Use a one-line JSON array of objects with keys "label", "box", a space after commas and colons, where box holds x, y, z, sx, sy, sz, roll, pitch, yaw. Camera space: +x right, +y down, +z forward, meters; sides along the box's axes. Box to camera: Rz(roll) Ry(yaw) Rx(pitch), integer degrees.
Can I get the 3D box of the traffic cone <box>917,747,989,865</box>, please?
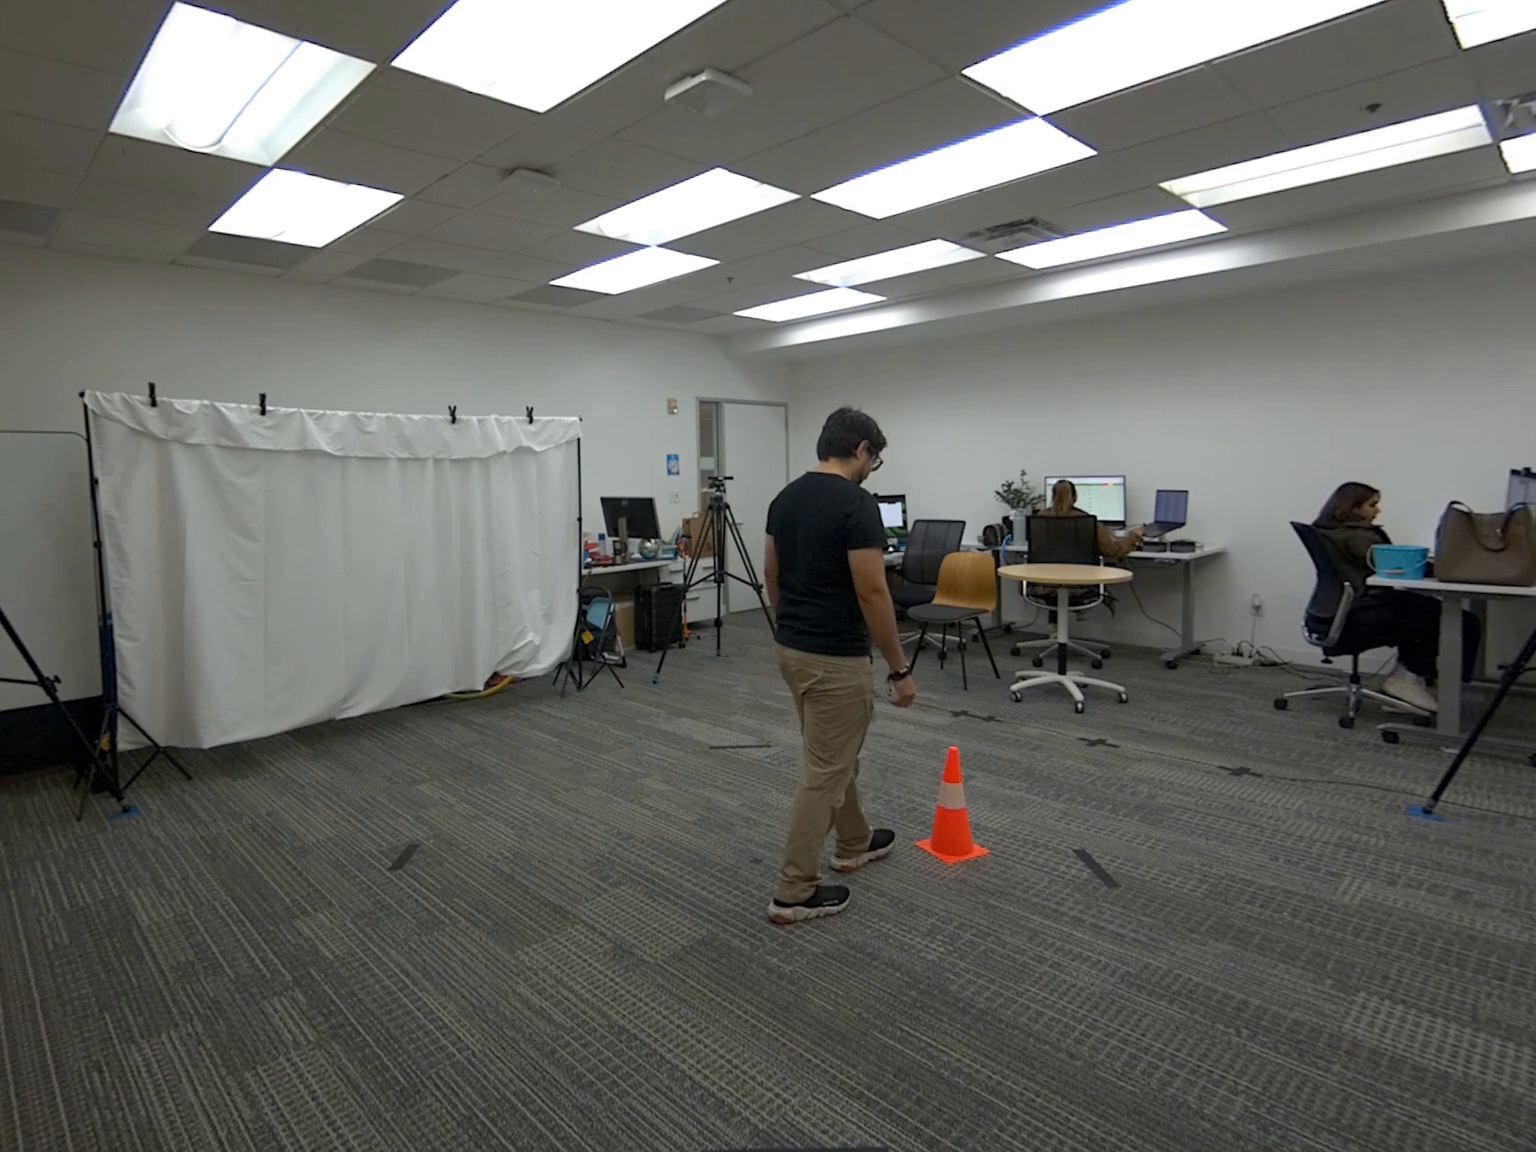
[{"label": "traffic cone", "box": [0.684, 0.830, 3.173, 0.200, 0.383, 0.208, -4, 3, -27]}]
